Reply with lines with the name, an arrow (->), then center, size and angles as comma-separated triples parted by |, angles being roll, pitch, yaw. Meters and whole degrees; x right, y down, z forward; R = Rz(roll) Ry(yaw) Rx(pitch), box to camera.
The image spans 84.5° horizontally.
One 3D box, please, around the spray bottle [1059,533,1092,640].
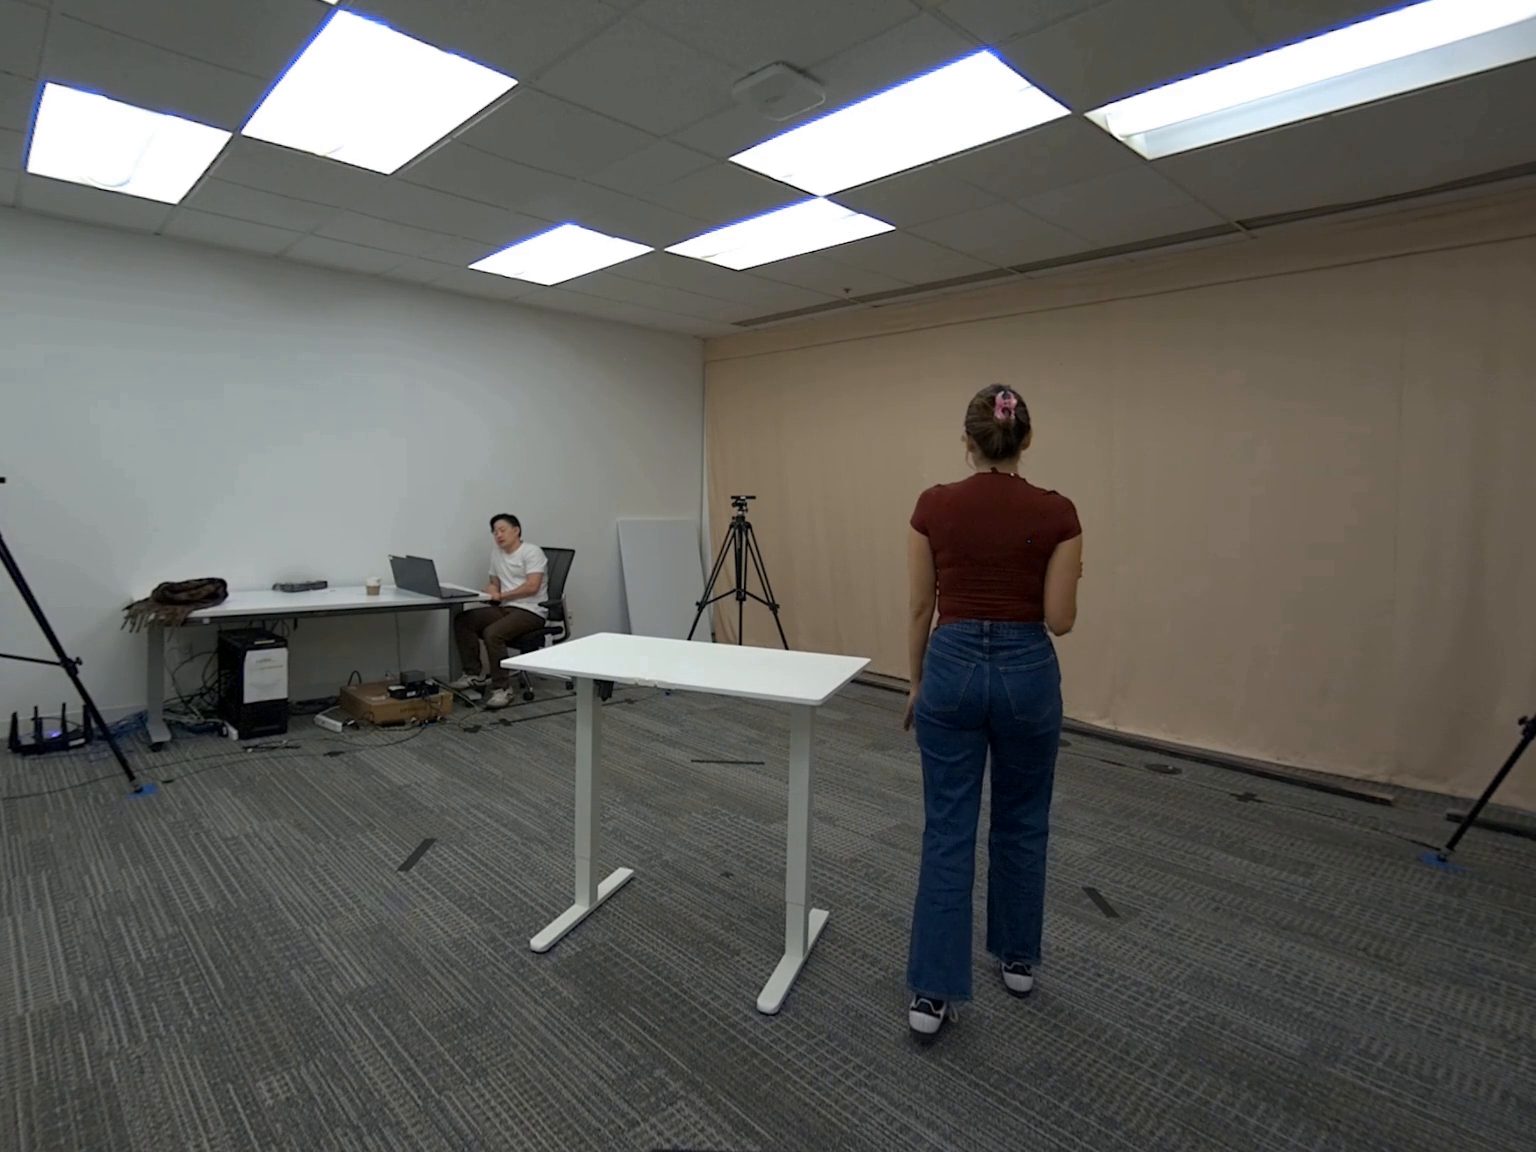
spray bottle -> 0.877, 0.024, 2.489 | 0.089, 0.295, 0.088 | 10, 12, 36
